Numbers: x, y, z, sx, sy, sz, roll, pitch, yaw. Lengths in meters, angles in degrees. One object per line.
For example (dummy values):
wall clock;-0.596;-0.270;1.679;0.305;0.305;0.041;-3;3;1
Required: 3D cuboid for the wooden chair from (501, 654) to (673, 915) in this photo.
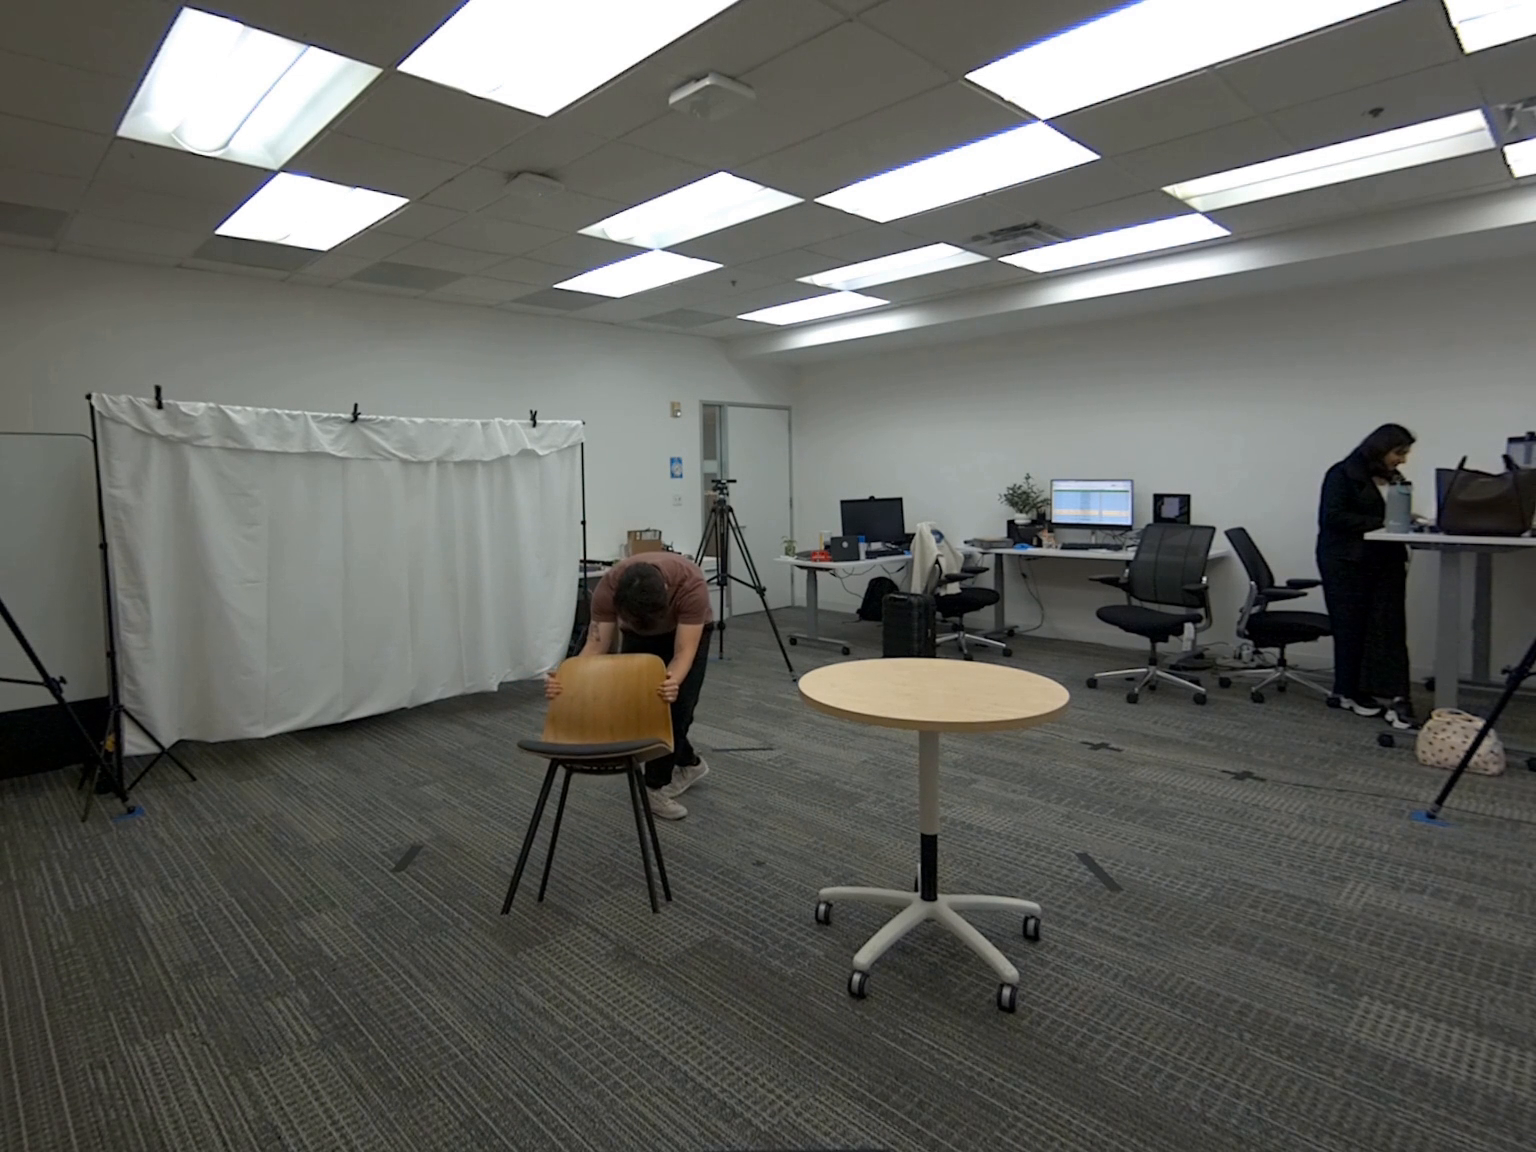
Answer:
wooden chair;-0.550;0.622;2.761;0.479;0.894;0.512;-1;-22;1
